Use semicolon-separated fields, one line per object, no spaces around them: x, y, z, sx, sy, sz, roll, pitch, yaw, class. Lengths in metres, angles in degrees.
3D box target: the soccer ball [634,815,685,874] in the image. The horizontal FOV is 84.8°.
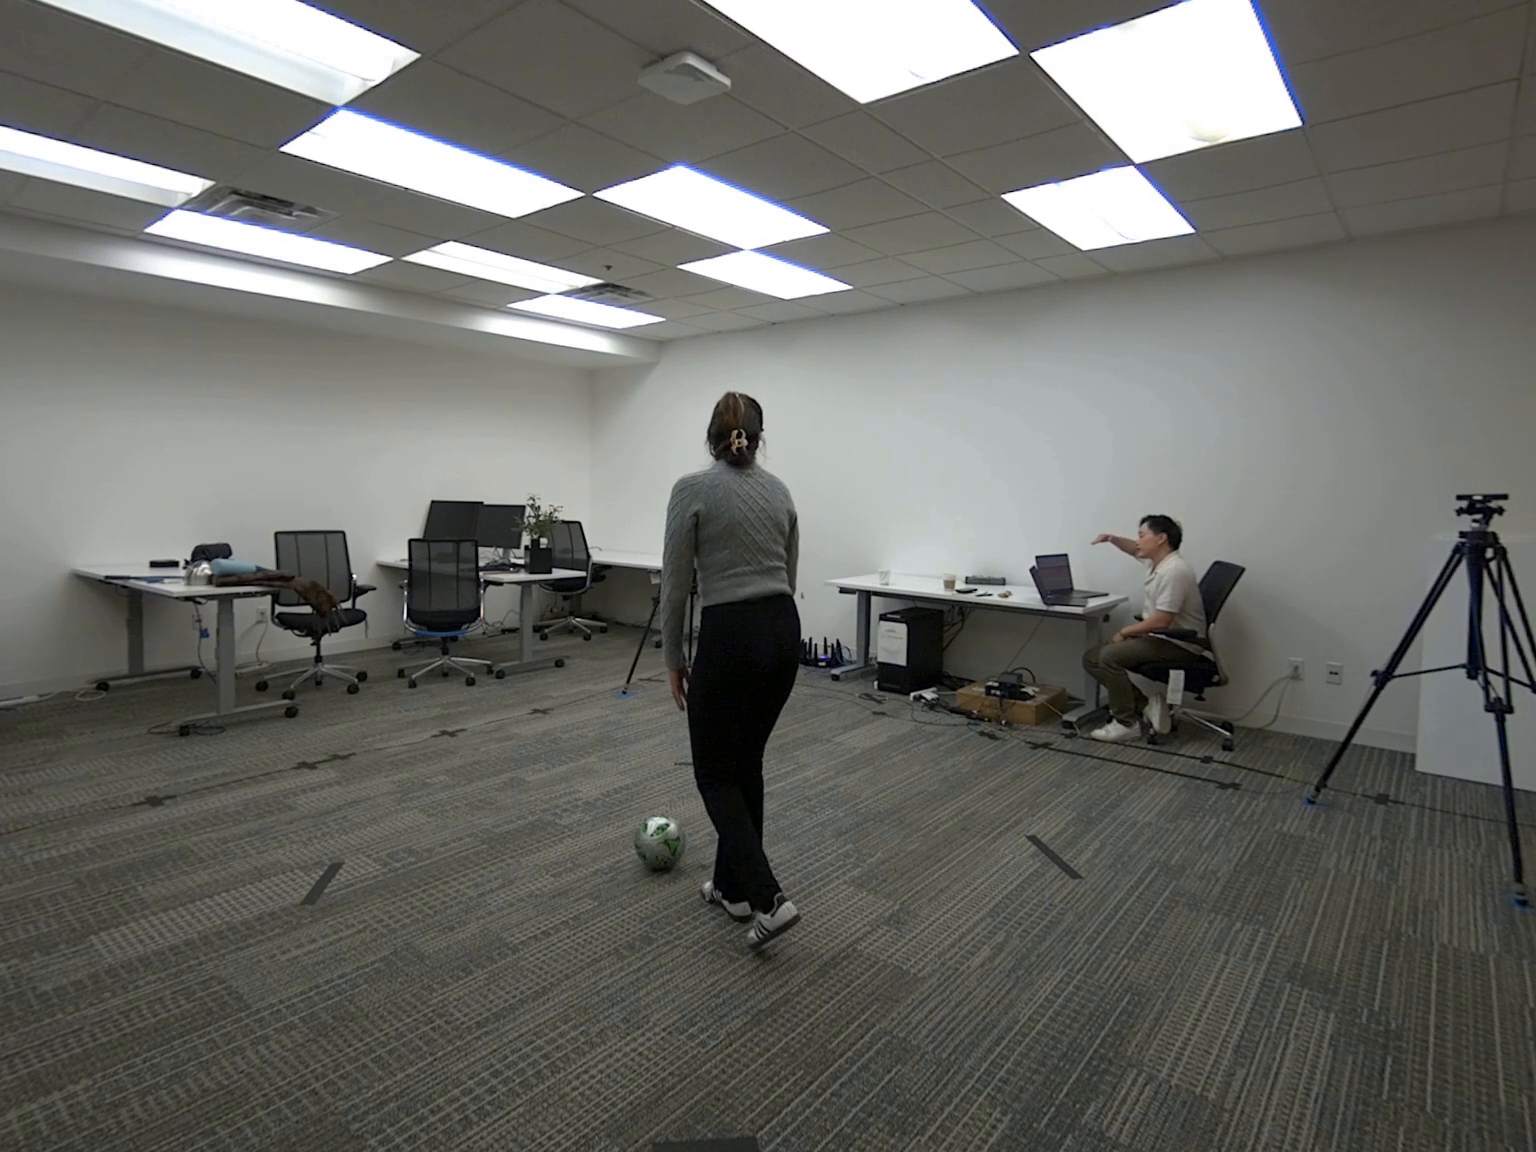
-0.398;0.968;3.111;0.187;0.187;0.188;0;4;-2;soccer ball
